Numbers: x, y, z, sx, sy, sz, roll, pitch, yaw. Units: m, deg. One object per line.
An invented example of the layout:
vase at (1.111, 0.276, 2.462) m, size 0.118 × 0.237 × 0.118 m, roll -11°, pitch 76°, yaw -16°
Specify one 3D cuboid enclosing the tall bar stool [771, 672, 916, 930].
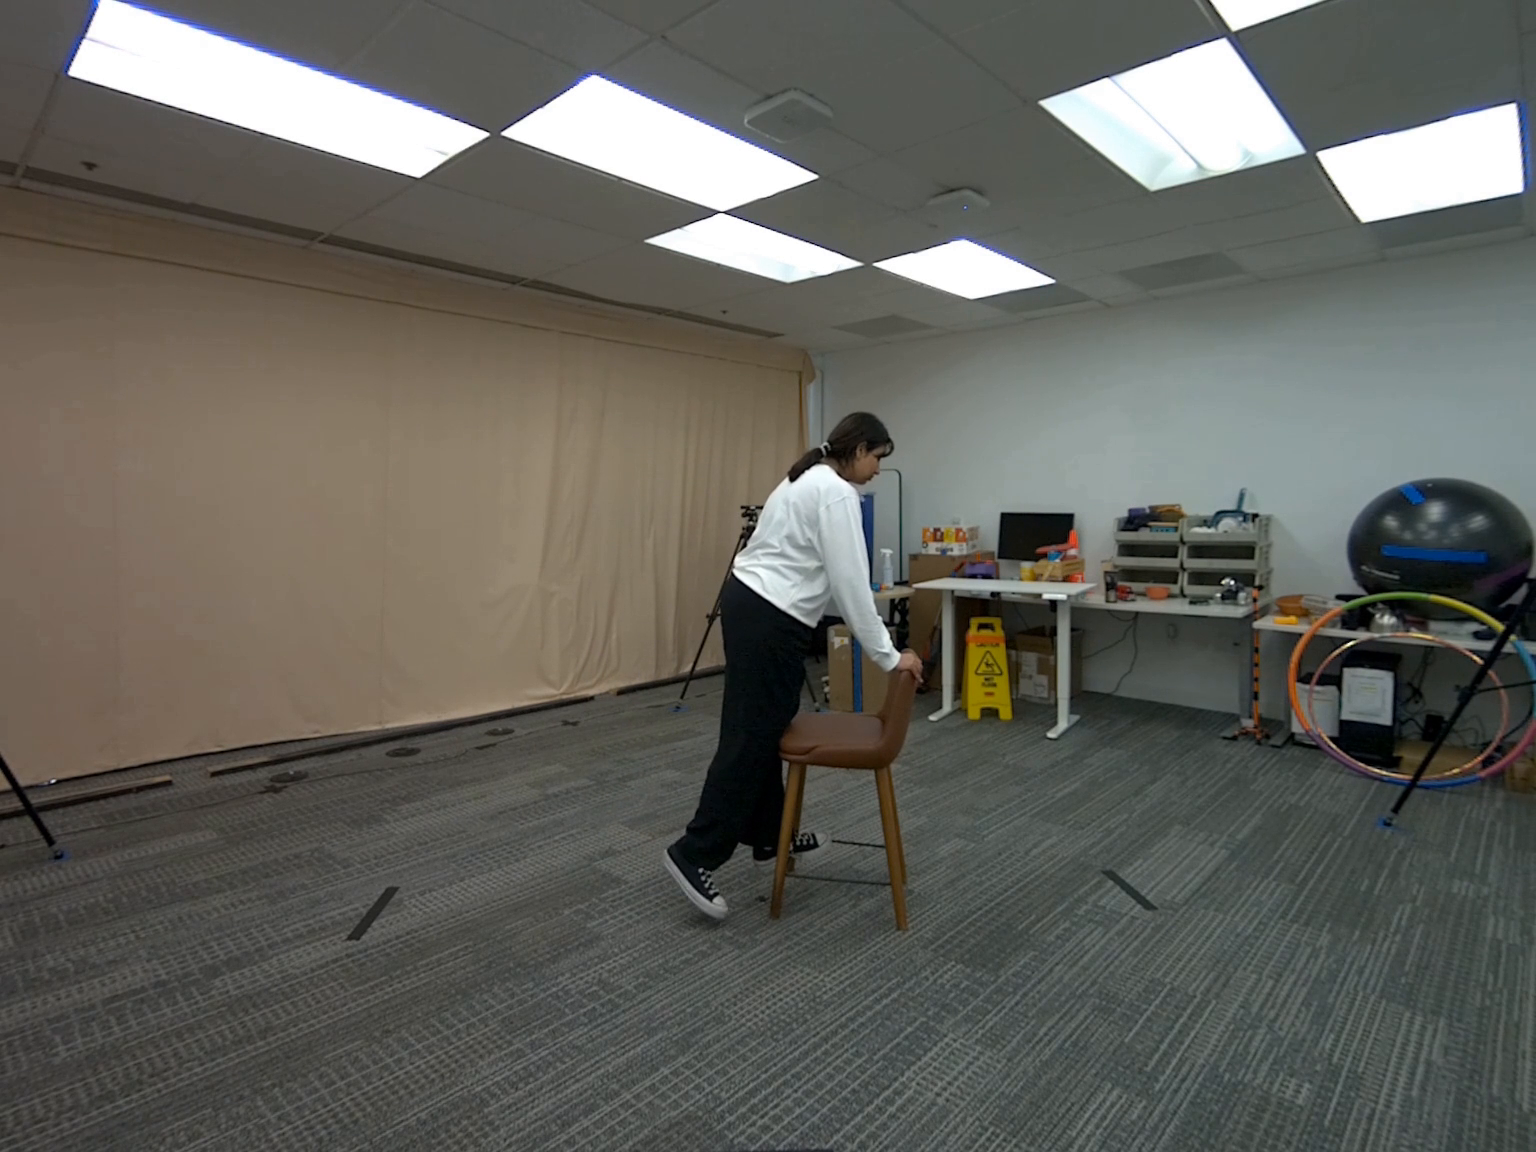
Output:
tall bar stool at (0.281, 0.713, 2.954) m, size 0.474 × 0.888 × 0.451 m, roll 2°, pitch 4°, yaw 12°
